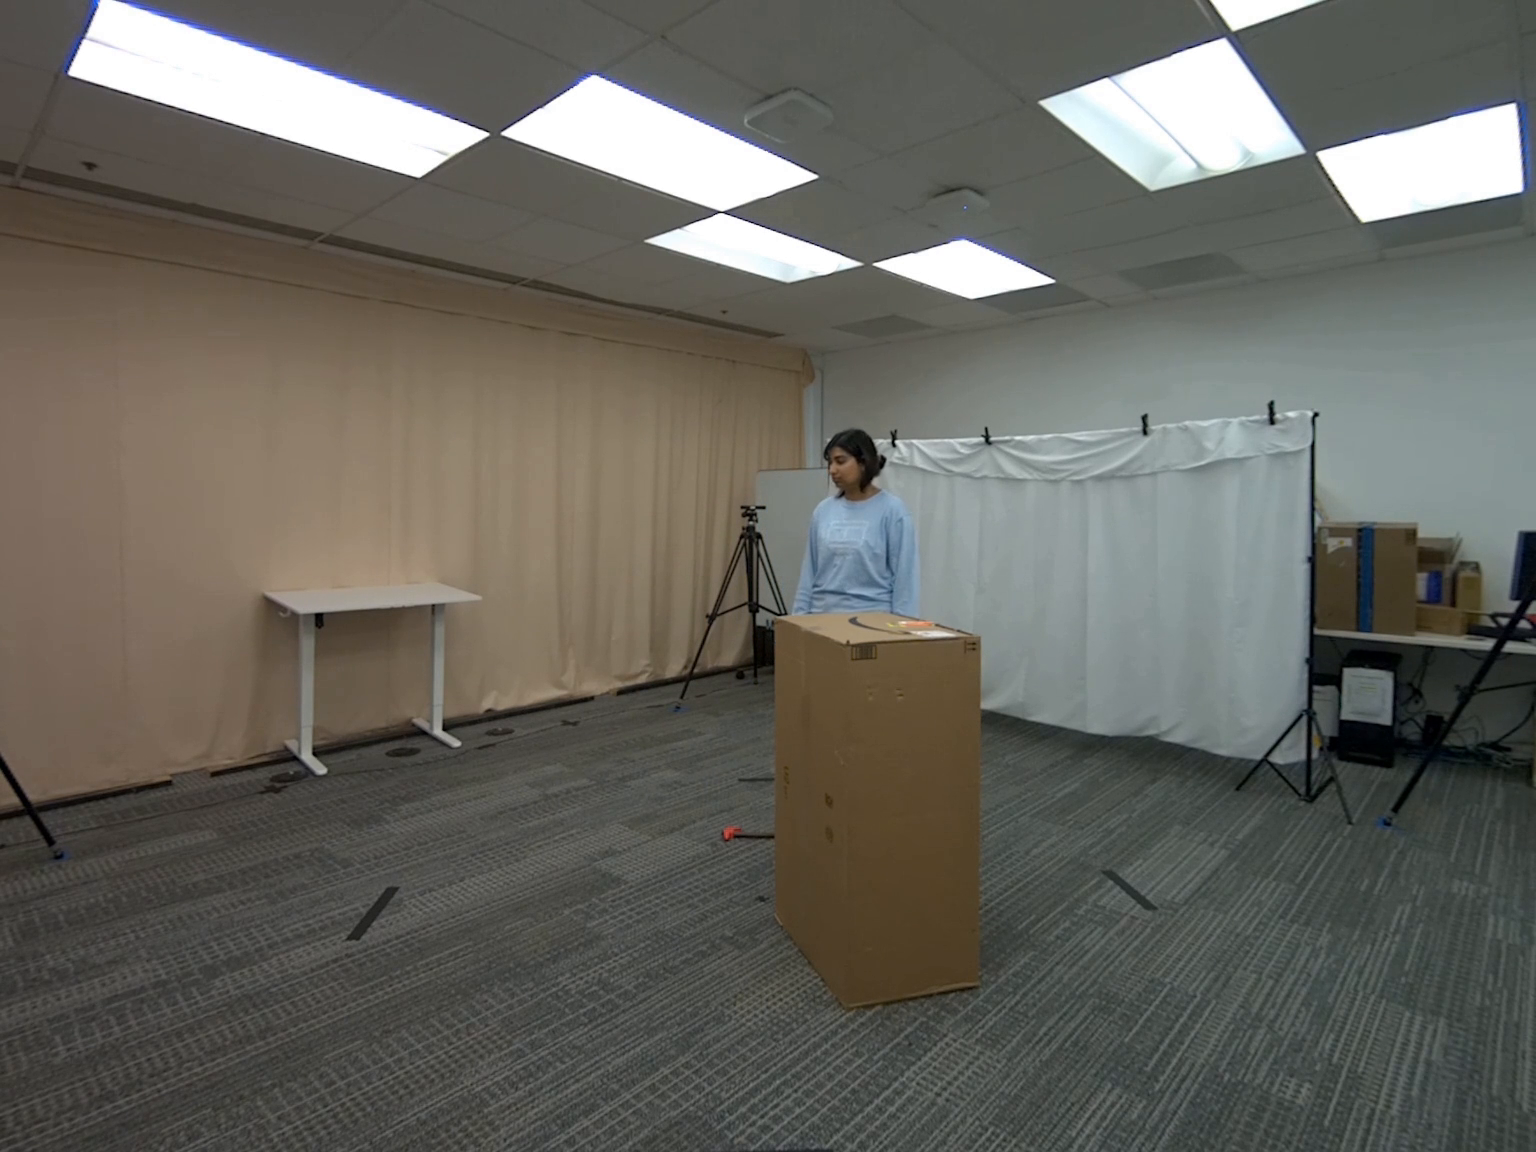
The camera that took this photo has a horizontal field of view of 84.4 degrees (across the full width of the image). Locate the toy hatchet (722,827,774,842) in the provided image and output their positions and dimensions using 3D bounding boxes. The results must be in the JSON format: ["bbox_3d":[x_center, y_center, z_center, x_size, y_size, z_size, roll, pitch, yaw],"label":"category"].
[{"bbox_3d":[-0.063,1.086,3.573,0.266,0.029,0.133,1,3,-13],"label":"toy hatchet"}]
